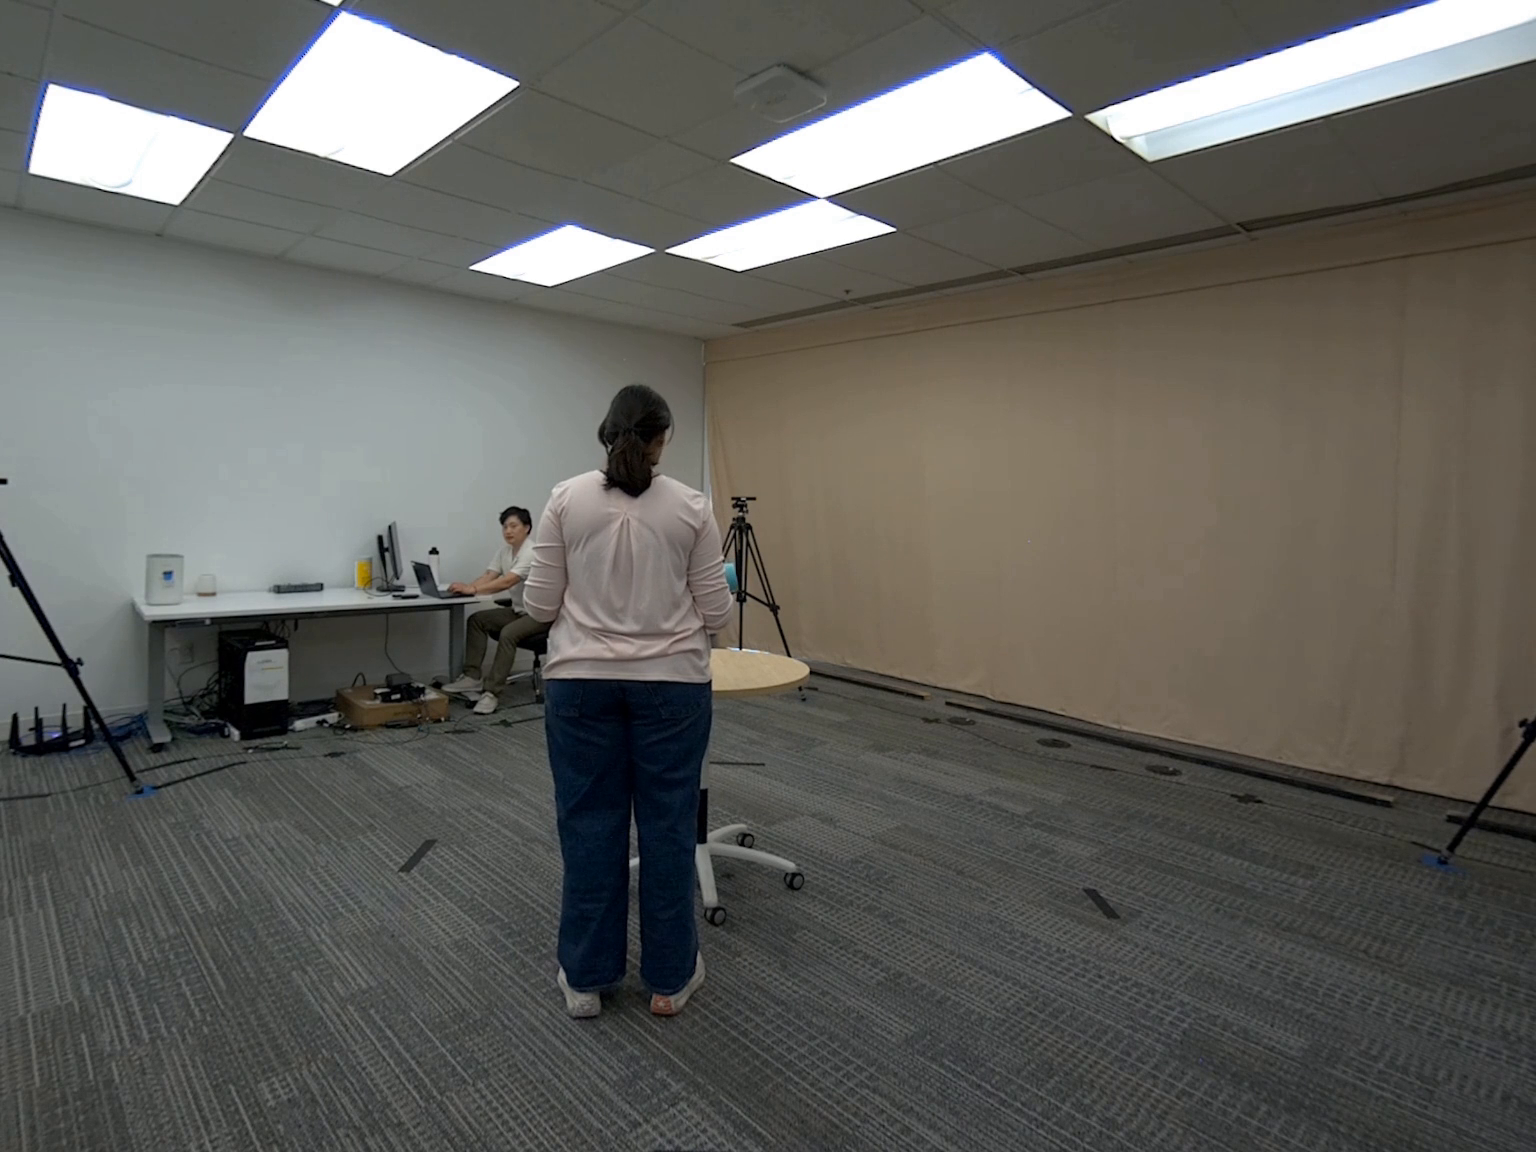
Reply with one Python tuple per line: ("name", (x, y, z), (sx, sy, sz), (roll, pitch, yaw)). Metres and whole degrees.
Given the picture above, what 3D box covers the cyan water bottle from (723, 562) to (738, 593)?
("cyan water bottle", (-0.253, 0.028, 2.621), (0.284, 0.092, 0.092), (-8, 4, 2))
